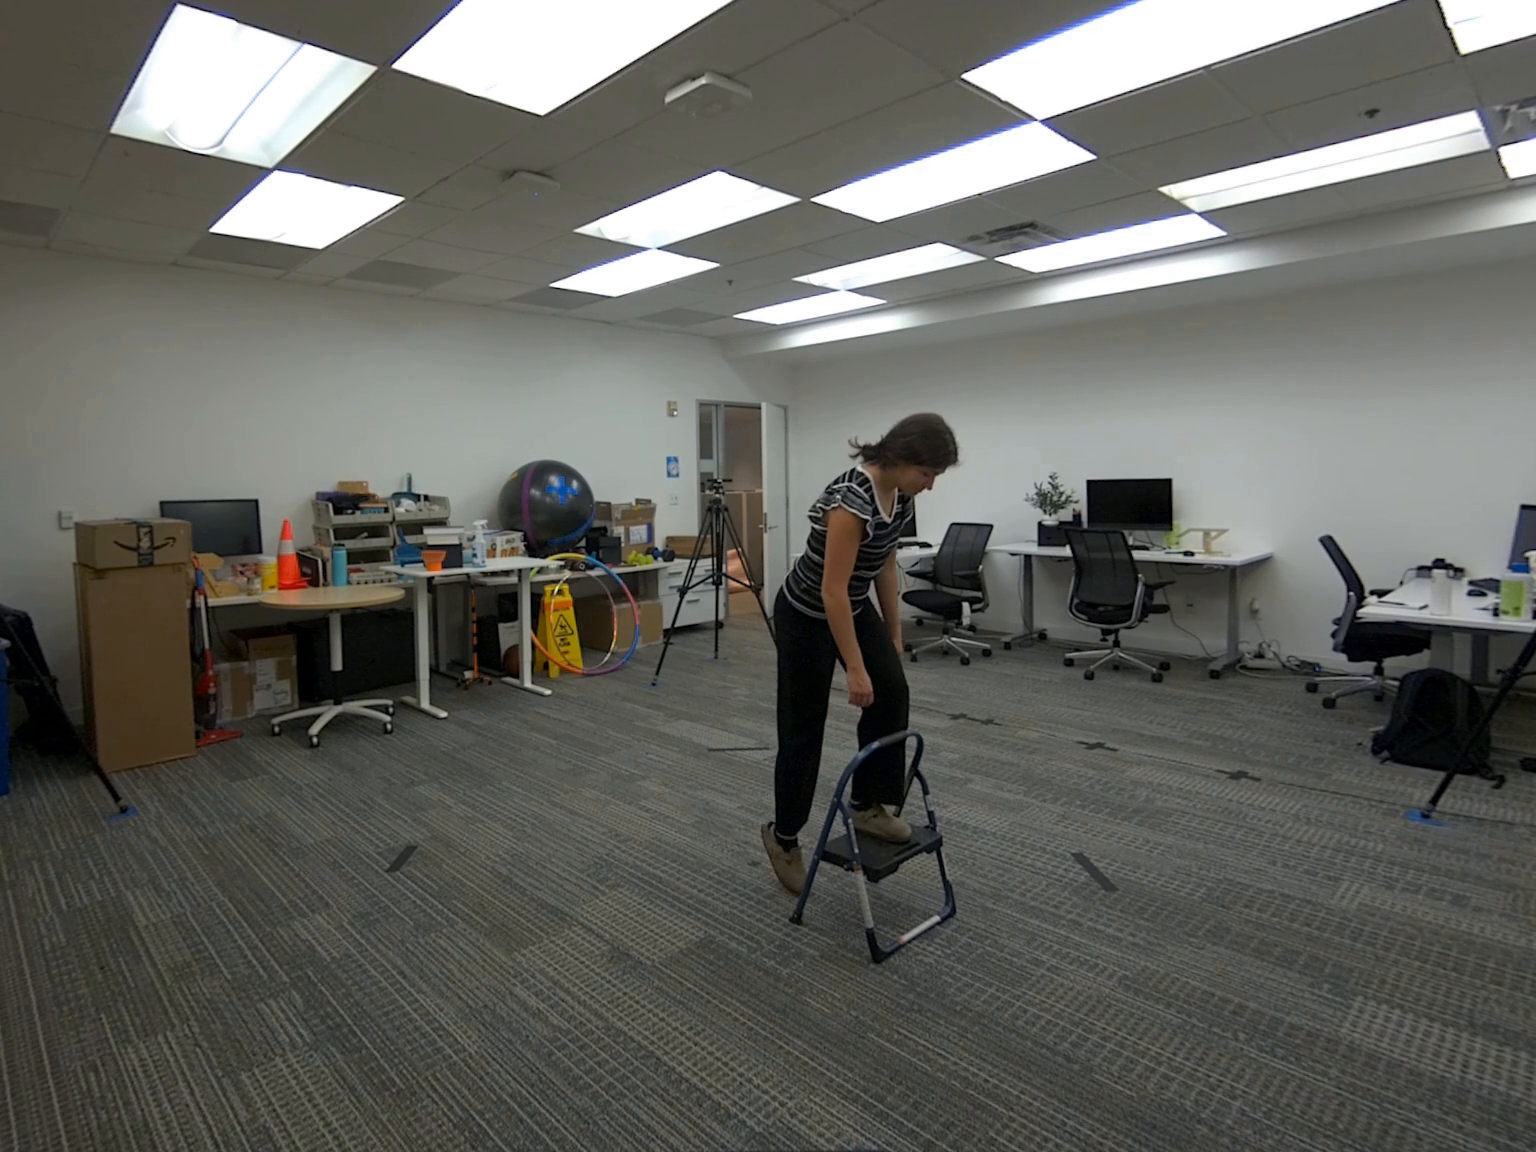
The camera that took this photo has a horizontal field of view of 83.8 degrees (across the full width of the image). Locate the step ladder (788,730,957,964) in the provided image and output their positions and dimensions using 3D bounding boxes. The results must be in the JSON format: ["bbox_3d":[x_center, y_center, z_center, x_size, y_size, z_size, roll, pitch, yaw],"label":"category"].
[{"bbox_3d":[0.334,0.785,2.690,0.360,0.604,0.419,3,6,45],"label":"step ladder"}]
